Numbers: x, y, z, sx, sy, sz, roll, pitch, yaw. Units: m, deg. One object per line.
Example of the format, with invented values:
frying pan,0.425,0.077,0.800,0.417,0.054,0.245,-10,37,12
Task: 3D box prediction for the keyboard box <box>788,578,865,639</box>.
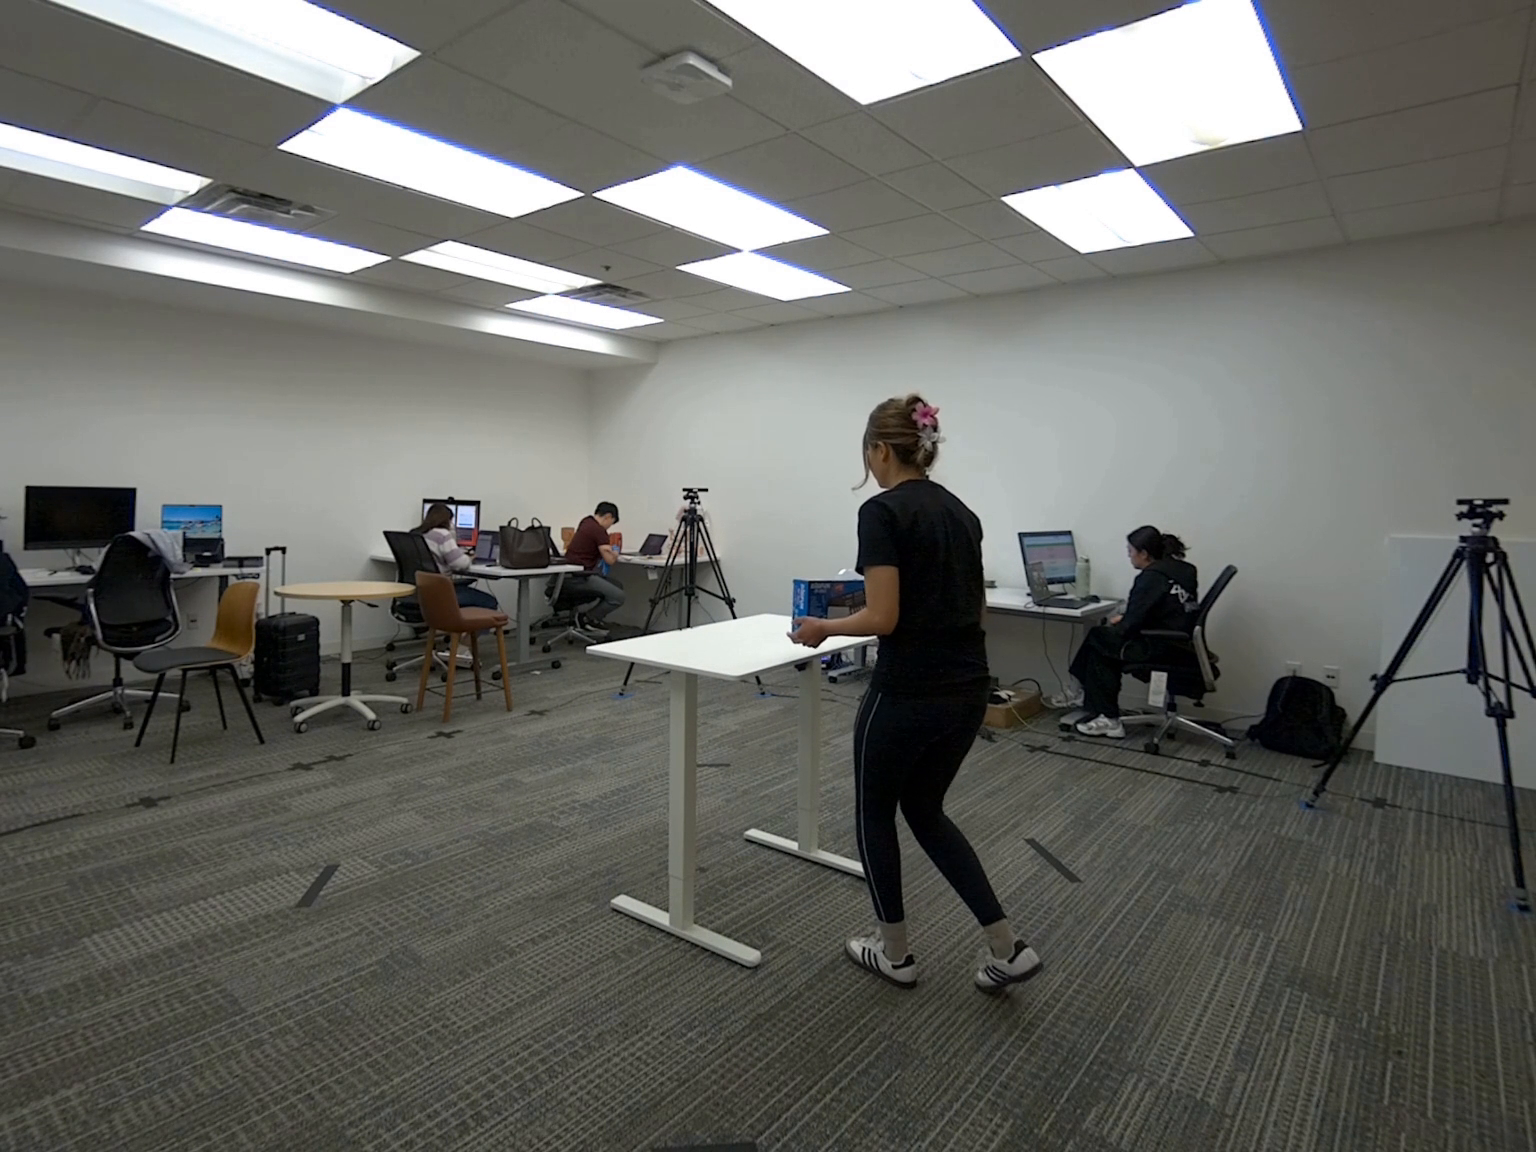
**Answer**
keyboard box,0.235,0.098,2.638,0.423,0.176,0.061,0,2,-45
